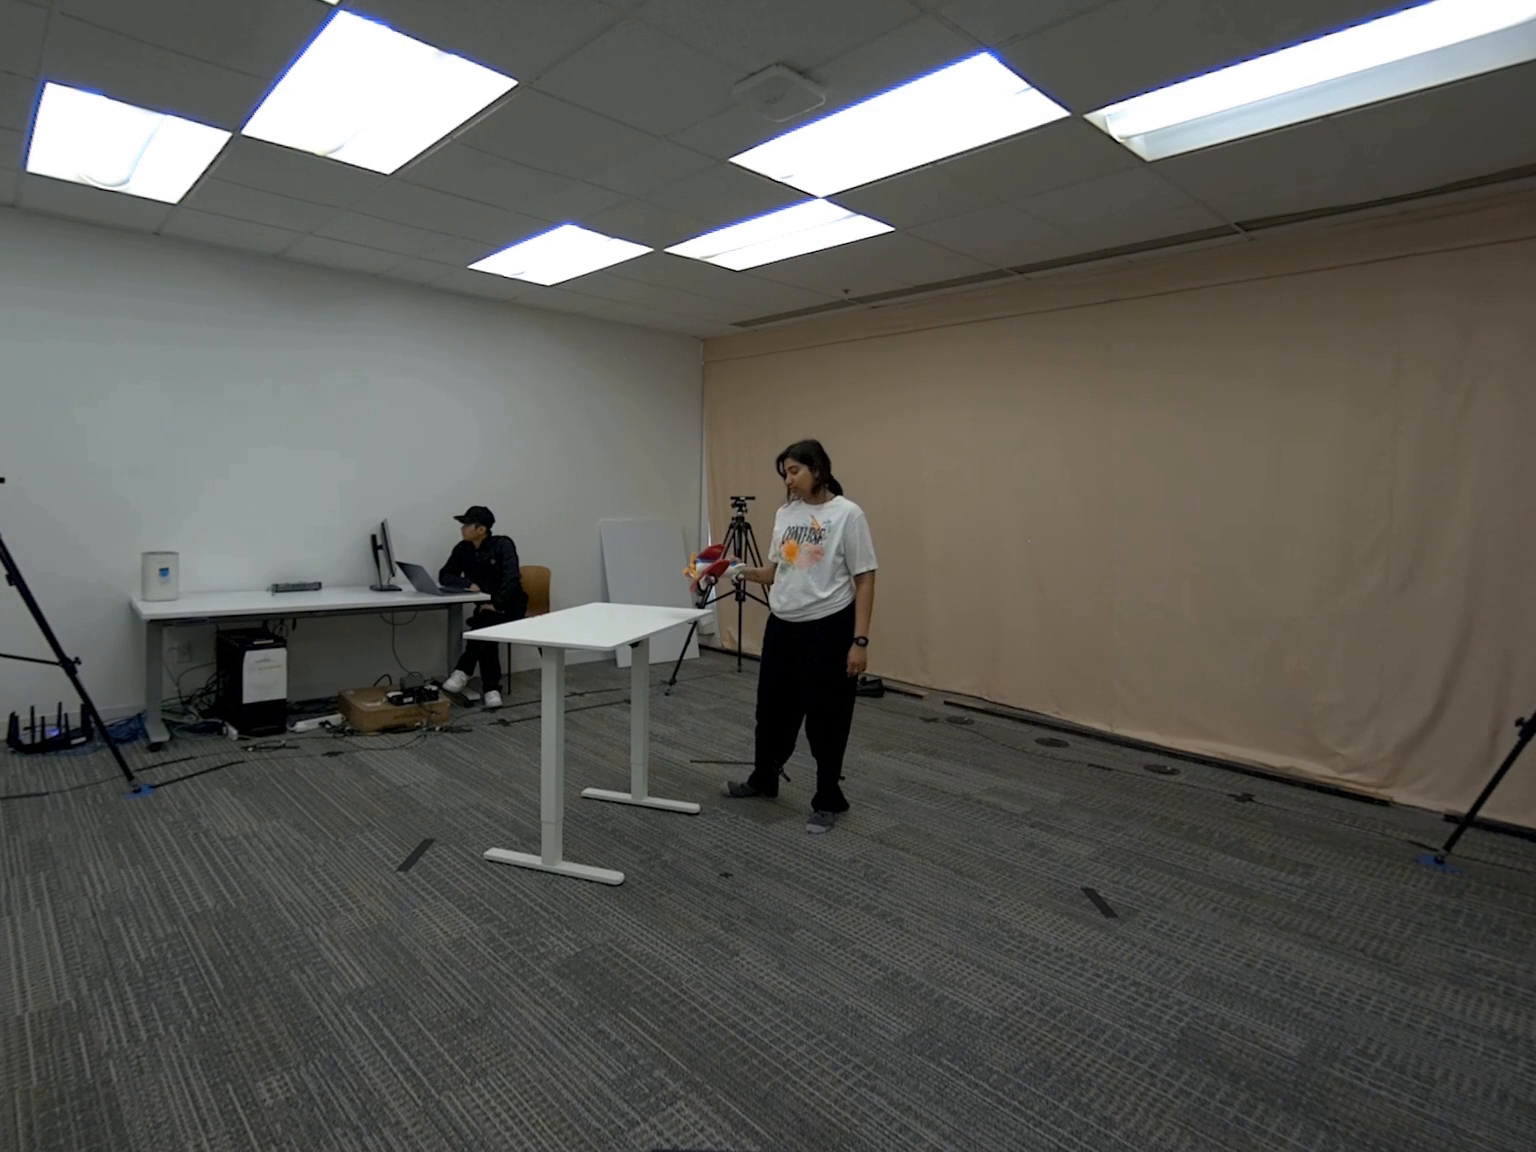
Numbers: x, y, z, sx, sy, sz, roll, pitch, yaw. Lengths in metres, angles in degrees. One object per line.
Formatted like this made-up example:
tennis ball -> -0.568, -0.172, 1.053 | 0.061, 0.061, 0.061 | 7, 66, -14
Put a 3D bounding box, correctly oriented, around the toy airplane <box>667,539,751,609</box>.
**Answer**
toy airplane -> -0.235, -0.006, 3.574 | 0.252, 0.159, 0.254 | -35, -17, 15
